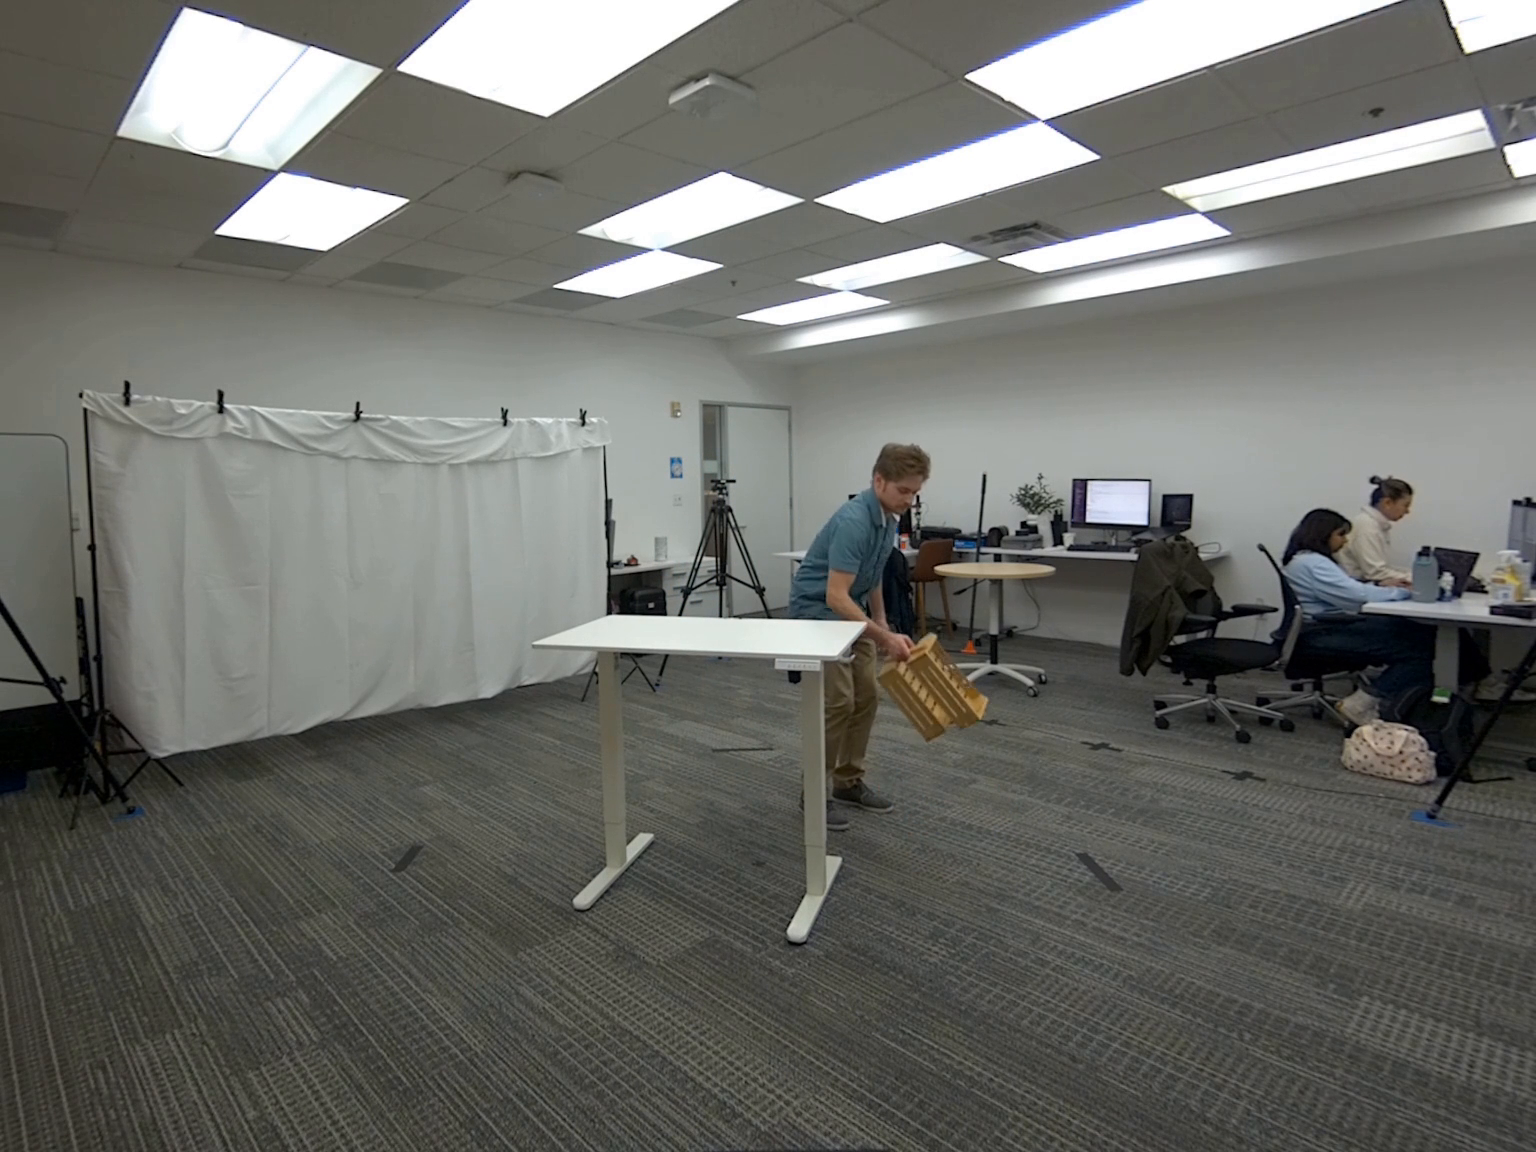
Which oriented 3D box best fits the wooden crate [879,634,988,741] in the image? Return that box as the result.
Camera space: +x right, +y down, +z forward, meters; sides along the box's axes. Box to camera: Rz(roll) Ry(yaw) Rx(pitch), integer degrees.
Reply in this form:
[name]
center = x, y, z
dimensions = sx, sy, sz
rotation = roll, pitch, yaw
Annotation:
[wooden crate]
center = 0.638, 0.394, 3.177
dimensions = 0.275, 0.325, 0.300
rotation = -38, -1, 33
